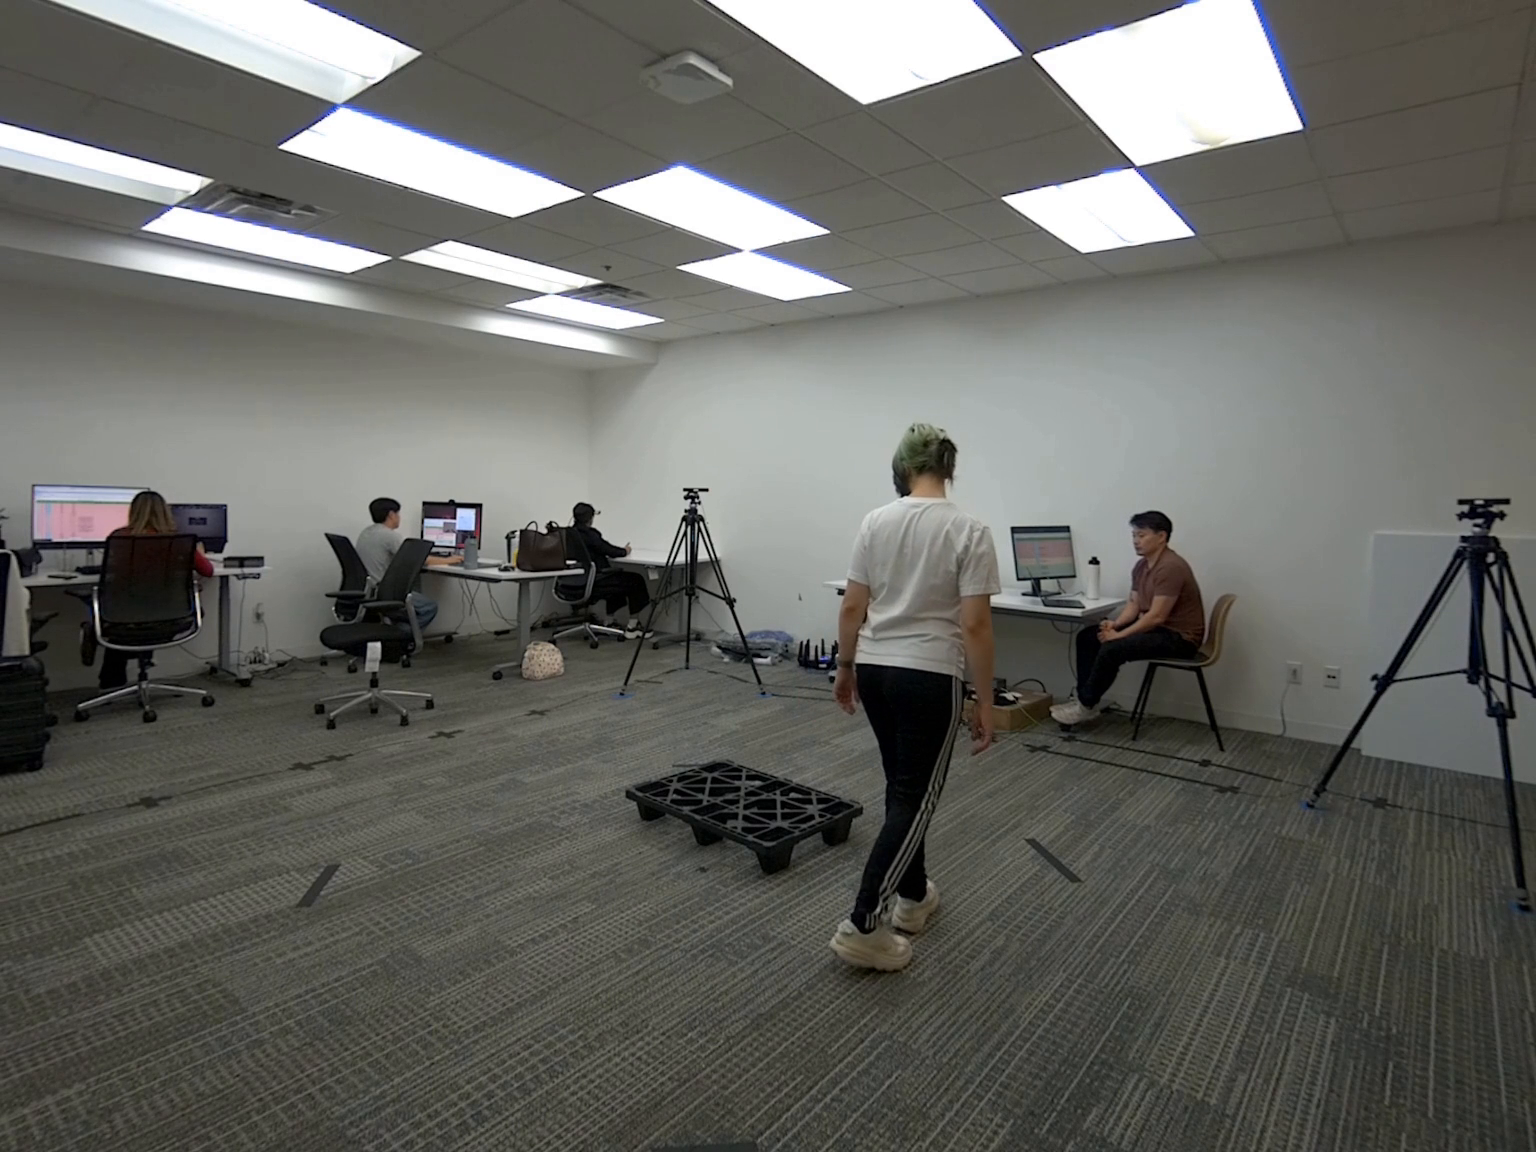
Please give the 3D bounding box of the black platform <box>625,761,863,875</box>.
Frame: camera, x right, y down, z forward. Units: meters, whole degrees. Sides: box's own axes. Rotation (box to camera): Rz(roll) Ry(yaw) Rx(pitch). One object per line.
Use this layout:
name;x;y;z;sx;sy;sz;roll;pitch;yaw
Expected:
black platform;-0.117;0.968;3.494;0.833;0.143;0.587;6;7;42
